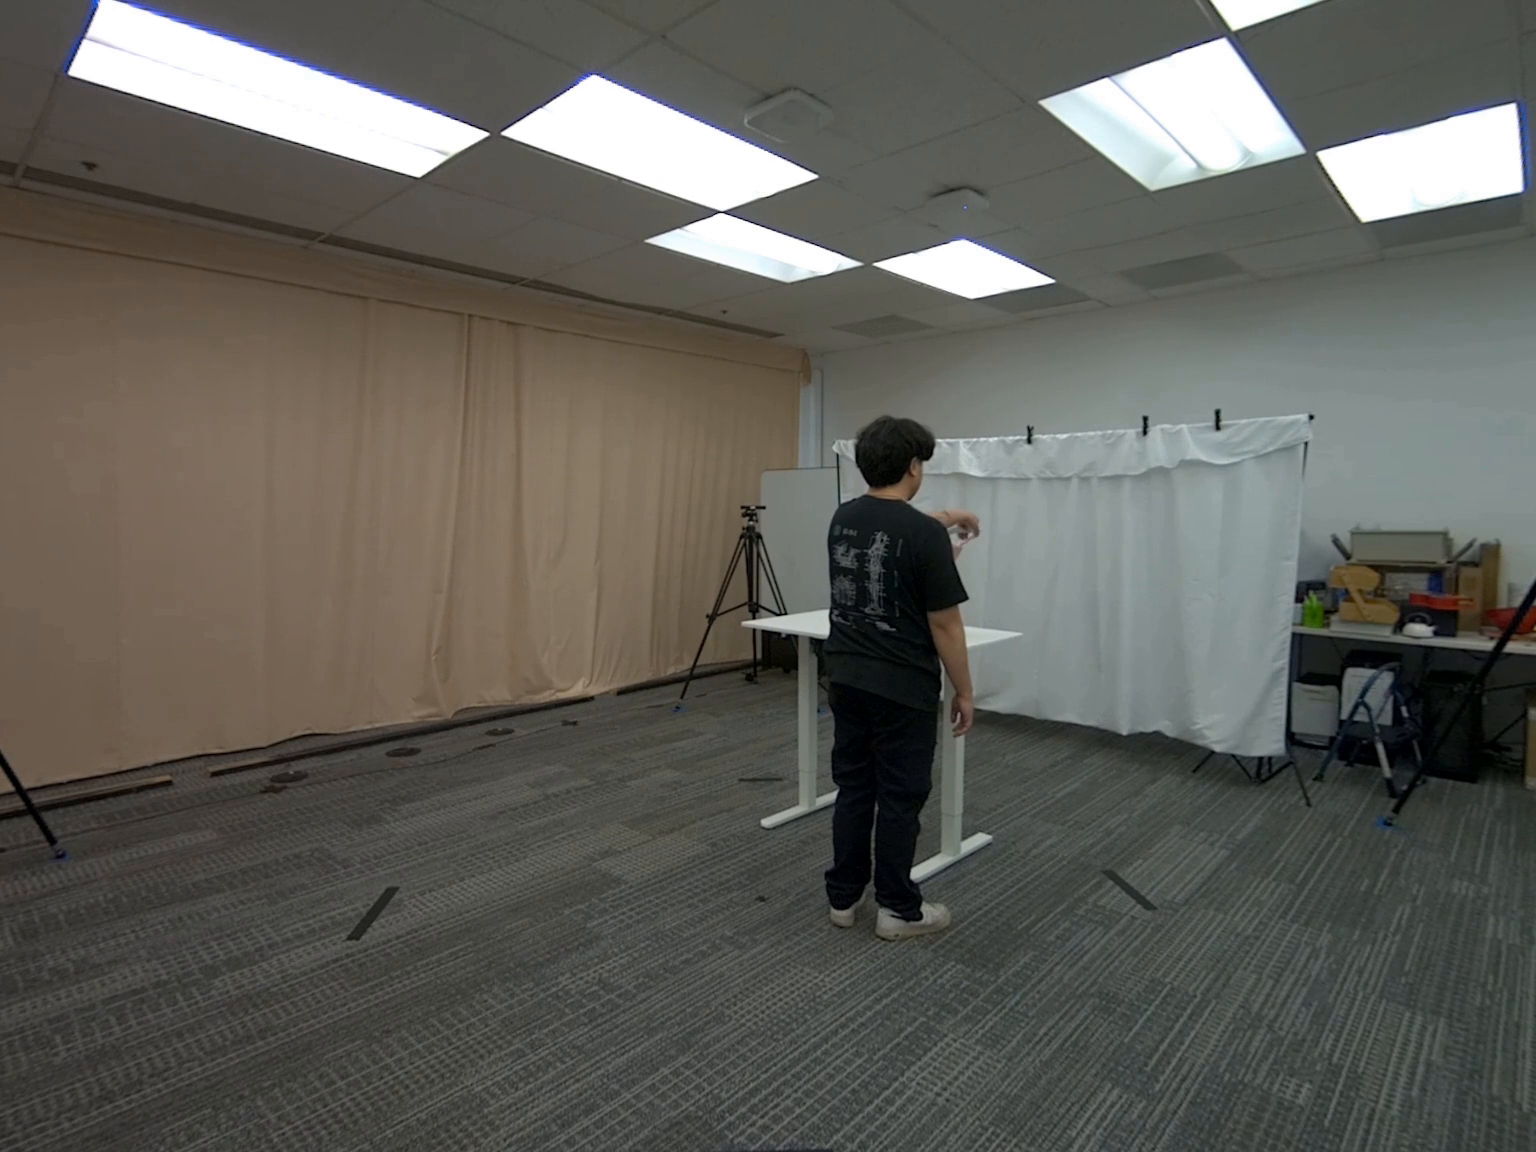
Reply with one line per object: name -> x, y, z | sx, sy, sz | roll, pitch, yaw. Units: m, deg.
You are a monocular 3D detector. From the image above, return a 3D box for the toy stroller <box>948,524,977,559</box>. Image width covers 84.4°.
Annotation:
toy stroller -> 0.611, 0.005, 3.344 | 0.273, 0.531, 0.354 | -1, 19, -34
